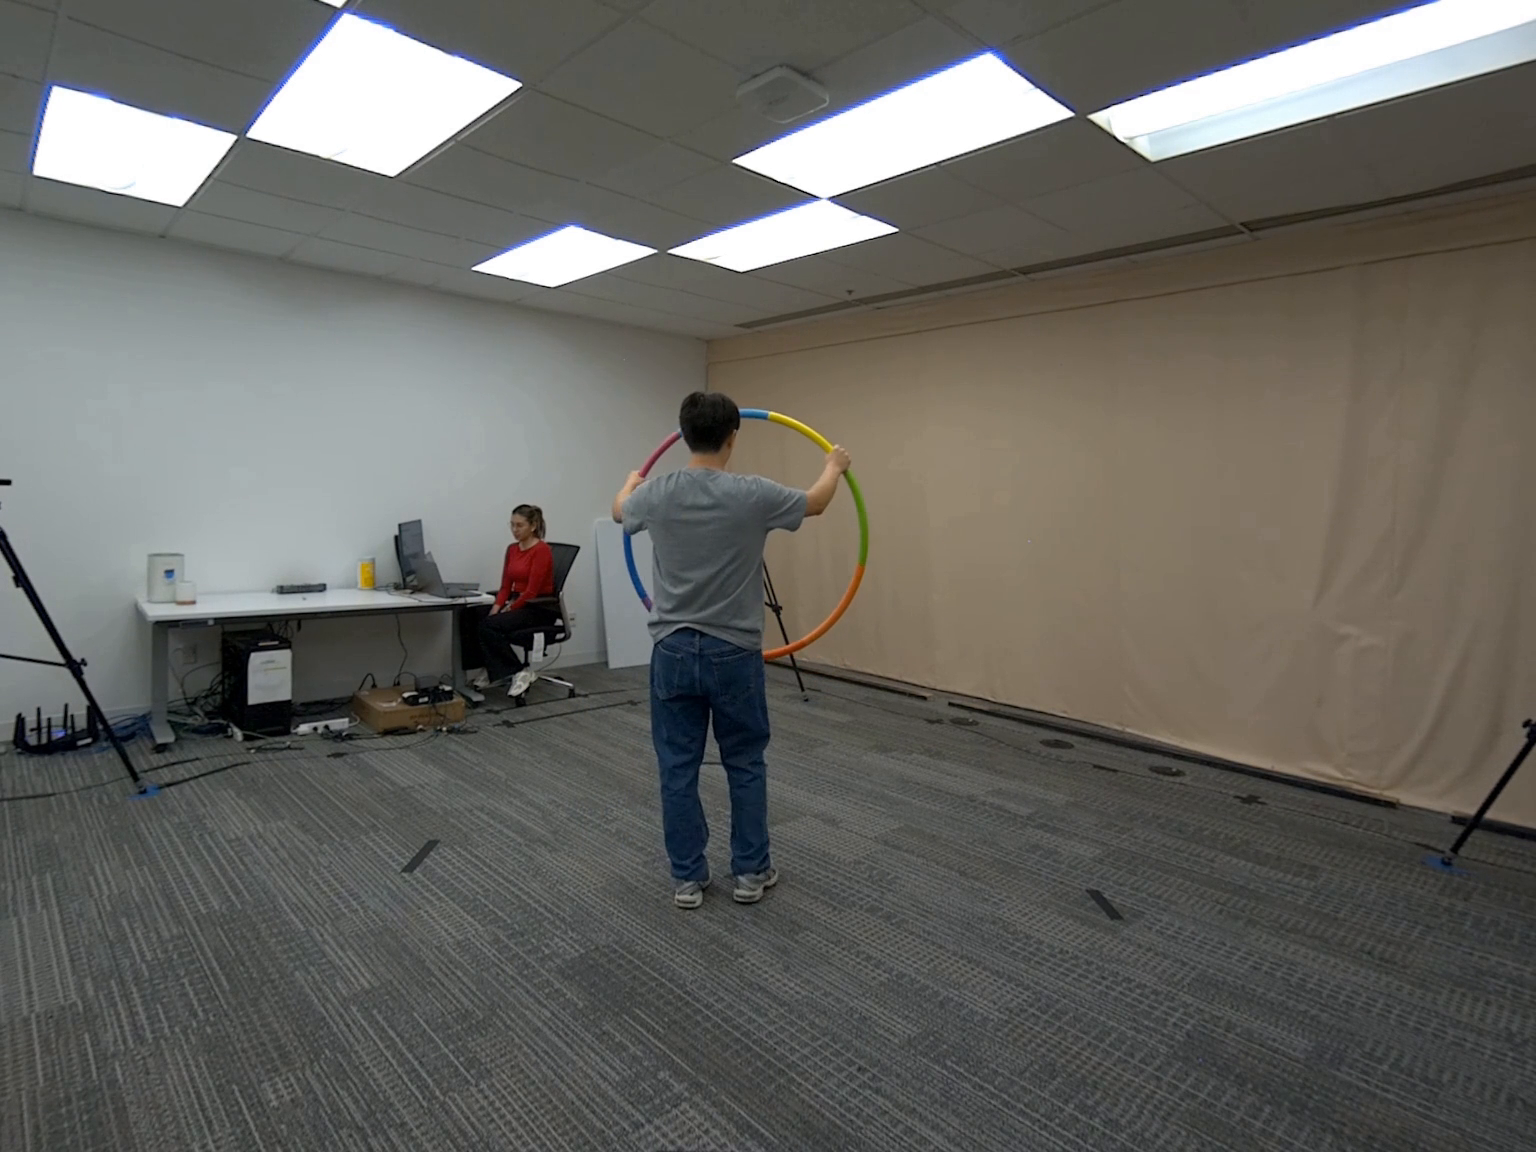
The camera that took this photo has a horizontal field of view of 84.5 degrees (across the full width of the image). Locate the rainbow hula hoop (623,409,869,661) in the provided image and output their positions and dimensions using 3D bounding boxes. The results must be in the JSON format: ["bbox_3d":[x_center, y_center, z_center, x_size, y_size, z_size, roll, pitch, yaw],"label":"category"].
[{"bbox_3d":[-0.110,-0.152,3.296,0.989,0.977,0.035,2,2,13],"label":"rainbow hula hoop"}]
